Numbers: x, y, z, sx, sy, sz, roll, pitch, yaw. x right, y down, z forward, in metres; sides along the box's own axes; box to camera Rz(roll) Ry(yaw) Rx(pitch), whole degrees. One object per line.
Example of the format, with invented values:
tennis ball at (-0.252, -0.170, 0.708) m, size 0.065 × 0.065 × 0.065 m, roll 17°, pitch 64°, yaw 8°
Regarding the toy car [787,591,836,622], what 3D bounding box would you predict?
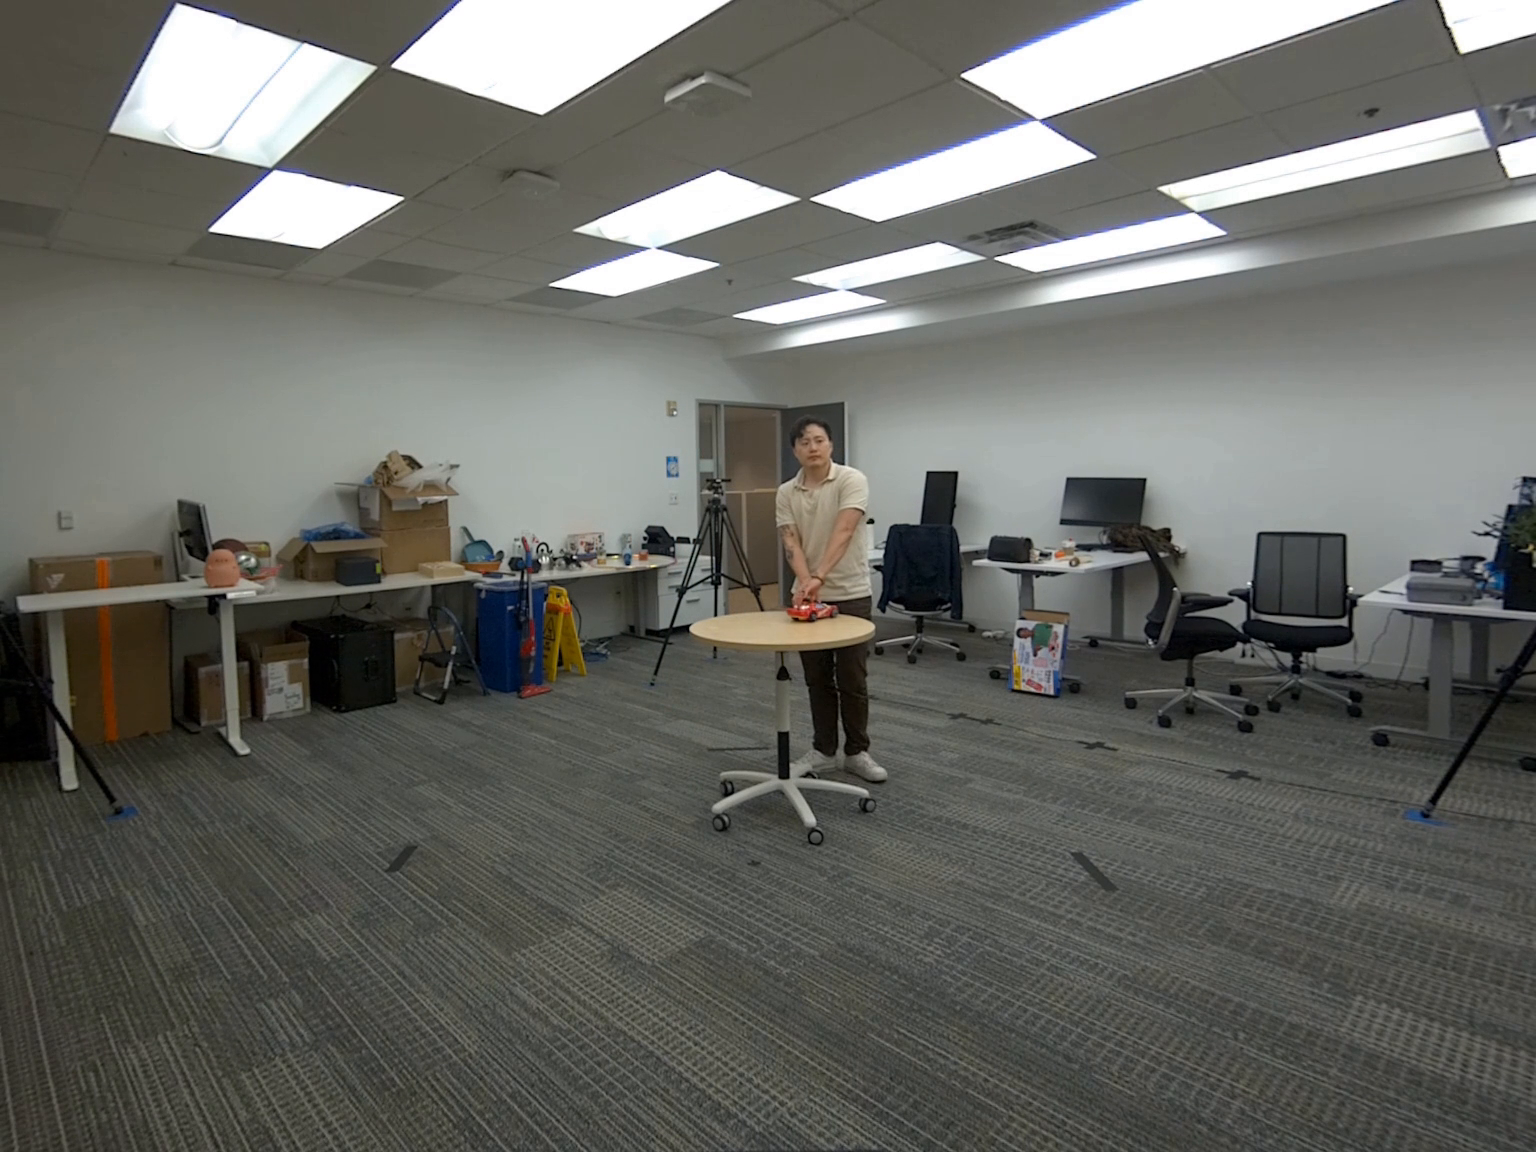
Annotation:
toy car at (0.192, 0.159, 3.696) m, size 0.134 × 0.083 × 0.246 m, roll 4°, pitch -3°, yaw 45°
